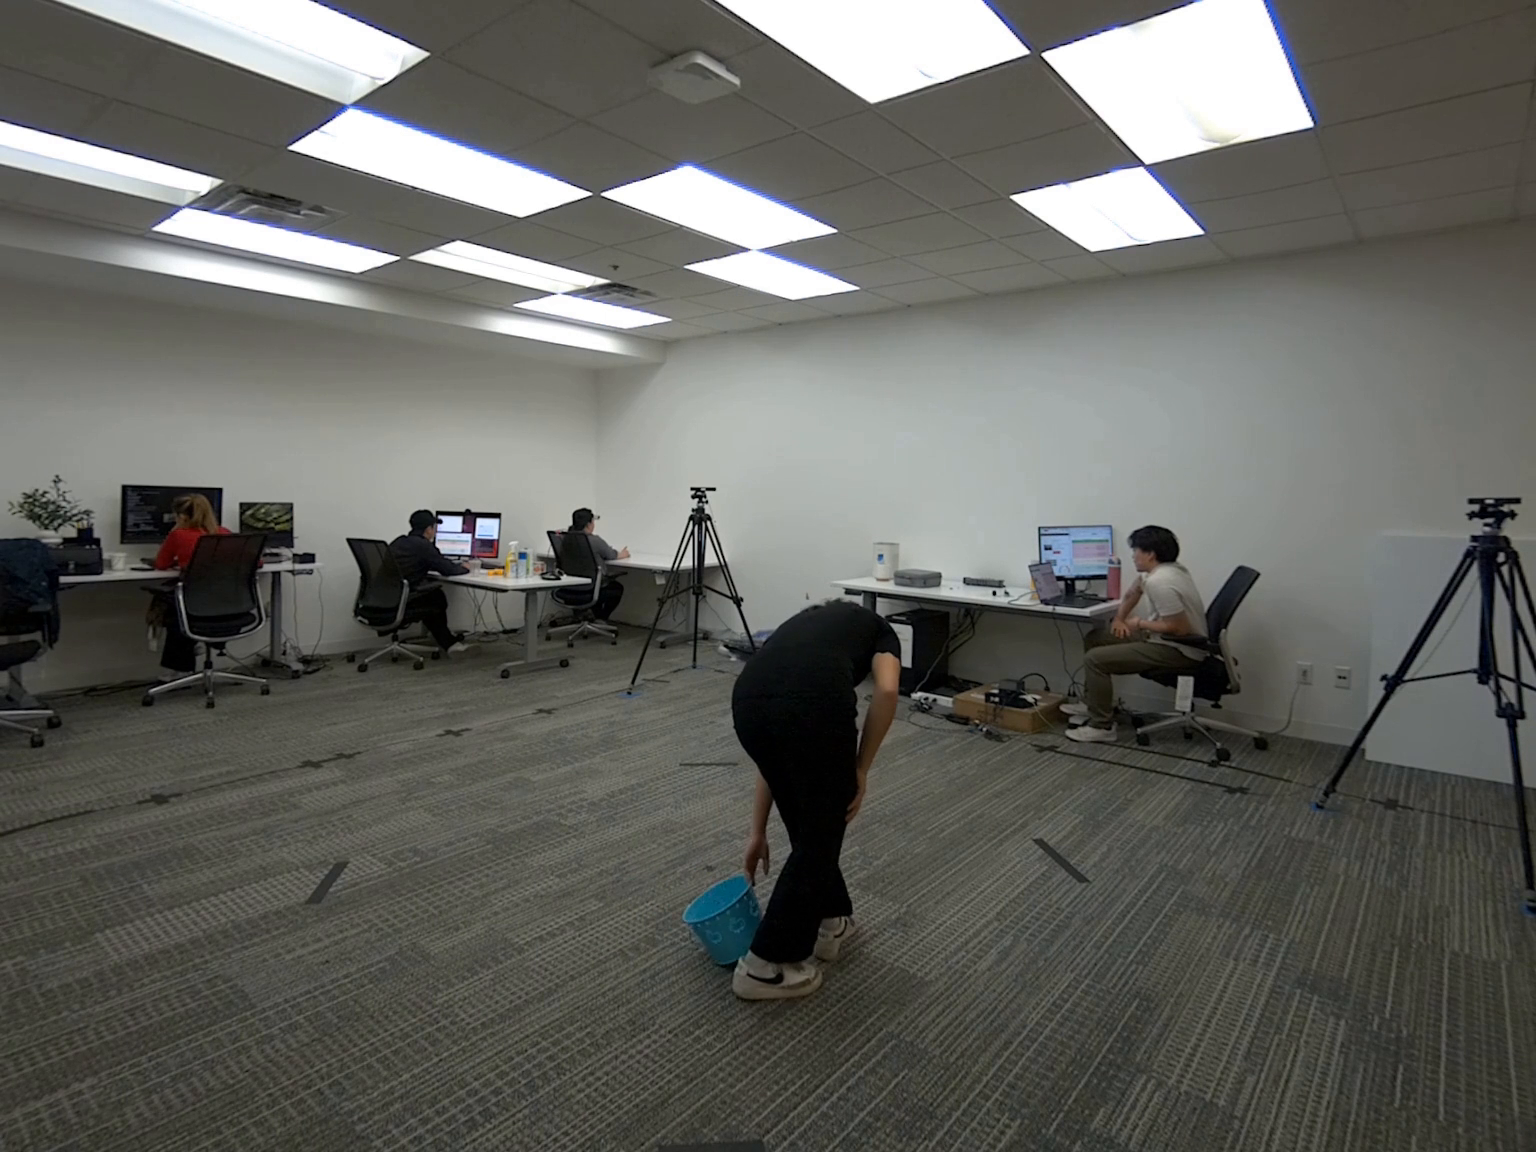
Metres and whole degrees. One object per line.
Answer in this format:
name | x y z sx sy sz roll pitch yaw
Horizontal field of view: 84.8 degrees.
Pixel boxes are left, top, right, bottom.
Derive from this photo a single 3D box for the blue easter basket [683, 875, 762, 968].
blue easter basket | -0.130 1.020 2.522 0.243 0.156 0.244 -28 2 -1
